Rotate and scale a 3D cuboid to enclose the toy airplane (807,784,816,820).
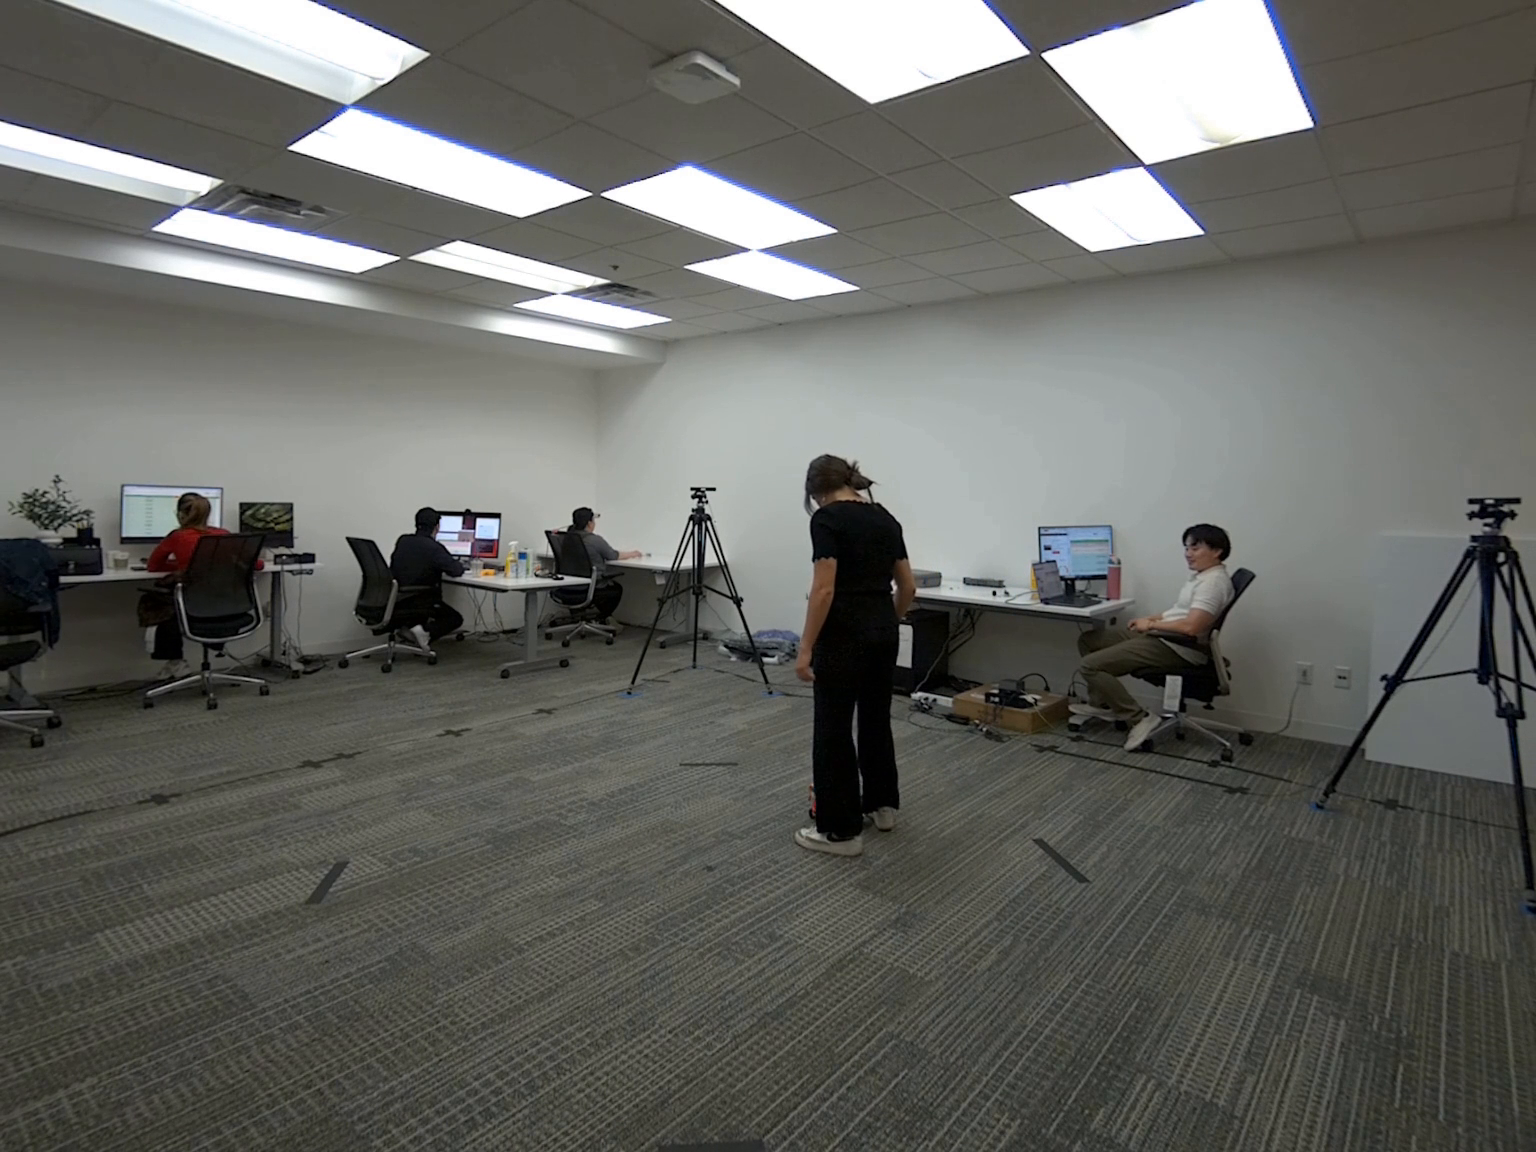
[{"bbox_3d":[0.287,0.947,3.621,0.258,0.156,0.254,-1,6,-6],"label":"toy airplane"}]
